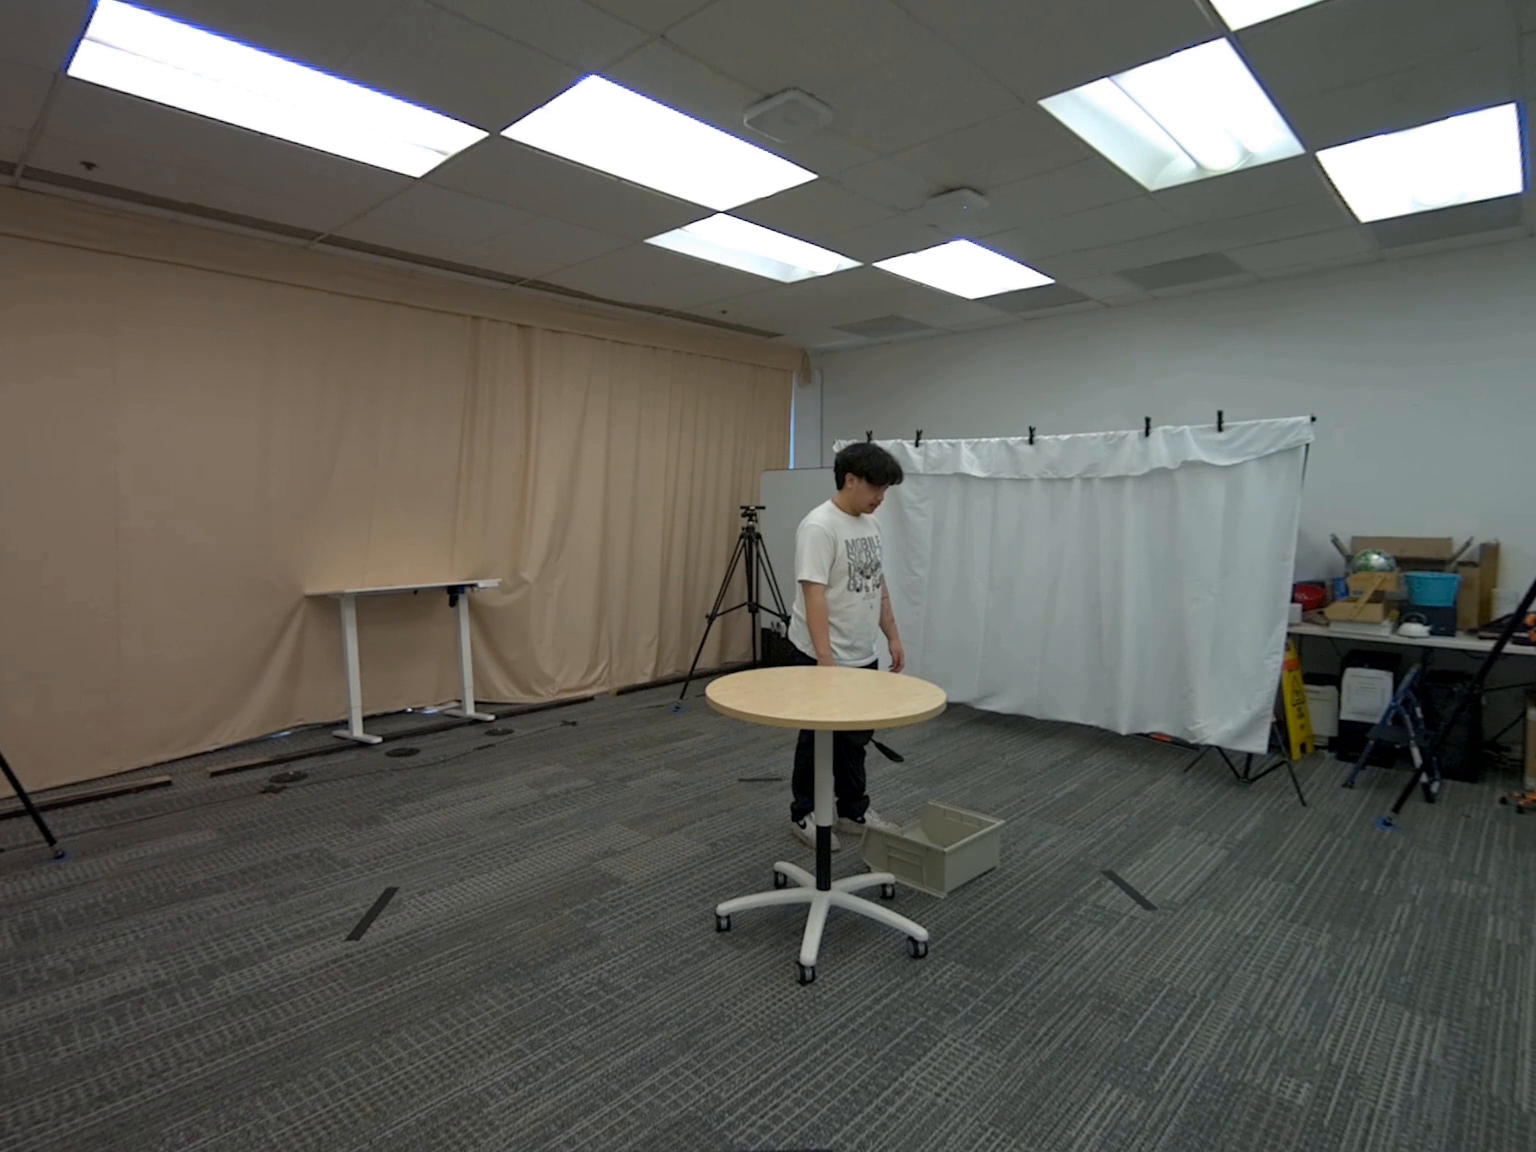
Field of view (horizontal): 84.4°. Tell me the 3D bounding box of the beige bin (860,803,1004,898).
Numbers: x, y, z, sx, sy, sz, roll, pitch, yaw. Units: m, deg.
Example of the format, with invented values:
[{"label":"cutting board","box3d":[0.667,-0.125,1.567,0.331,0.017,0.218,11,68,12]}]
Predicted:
[{"label":"beige bin","box3d":[0.635,1.033,3.236,0.390,0.188,0.409,5,6,45]}]
